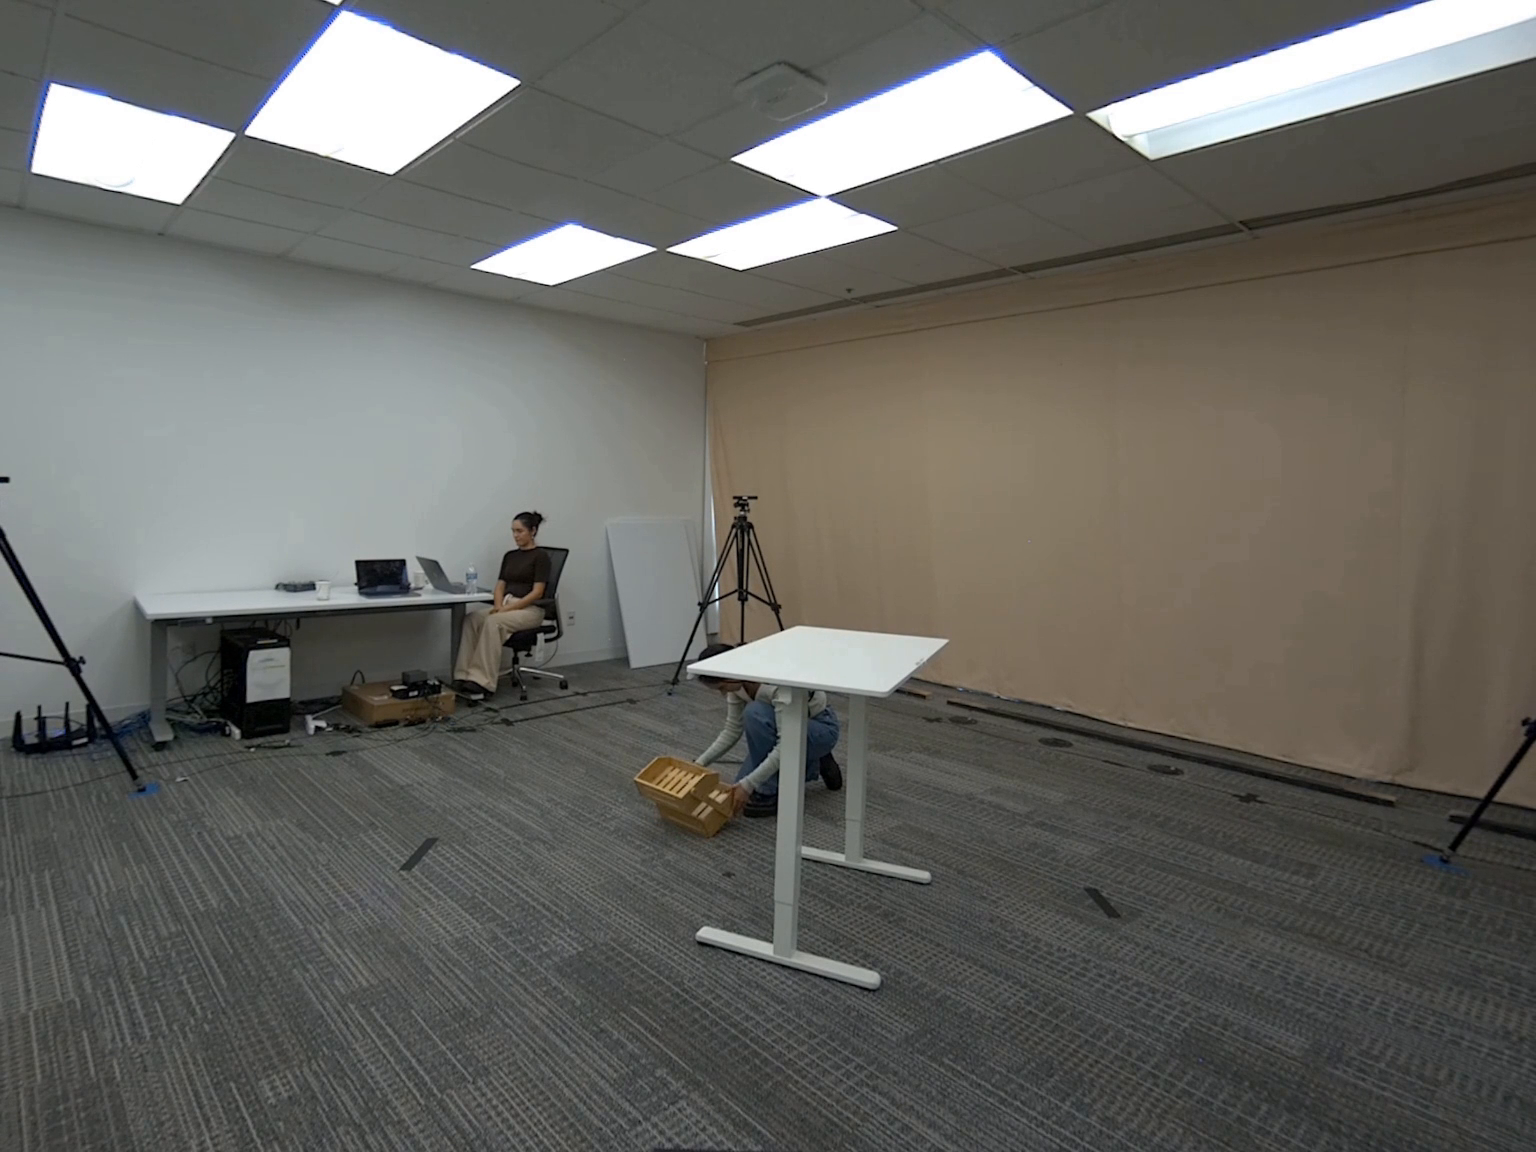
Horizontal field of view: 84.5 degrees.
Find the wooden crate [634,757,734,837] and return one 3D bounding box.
[{"bbox_3d":[-0.334,0.895,3.550,0.333,0.268,0.300,5,32,44],"label":"wooden crate"}]
